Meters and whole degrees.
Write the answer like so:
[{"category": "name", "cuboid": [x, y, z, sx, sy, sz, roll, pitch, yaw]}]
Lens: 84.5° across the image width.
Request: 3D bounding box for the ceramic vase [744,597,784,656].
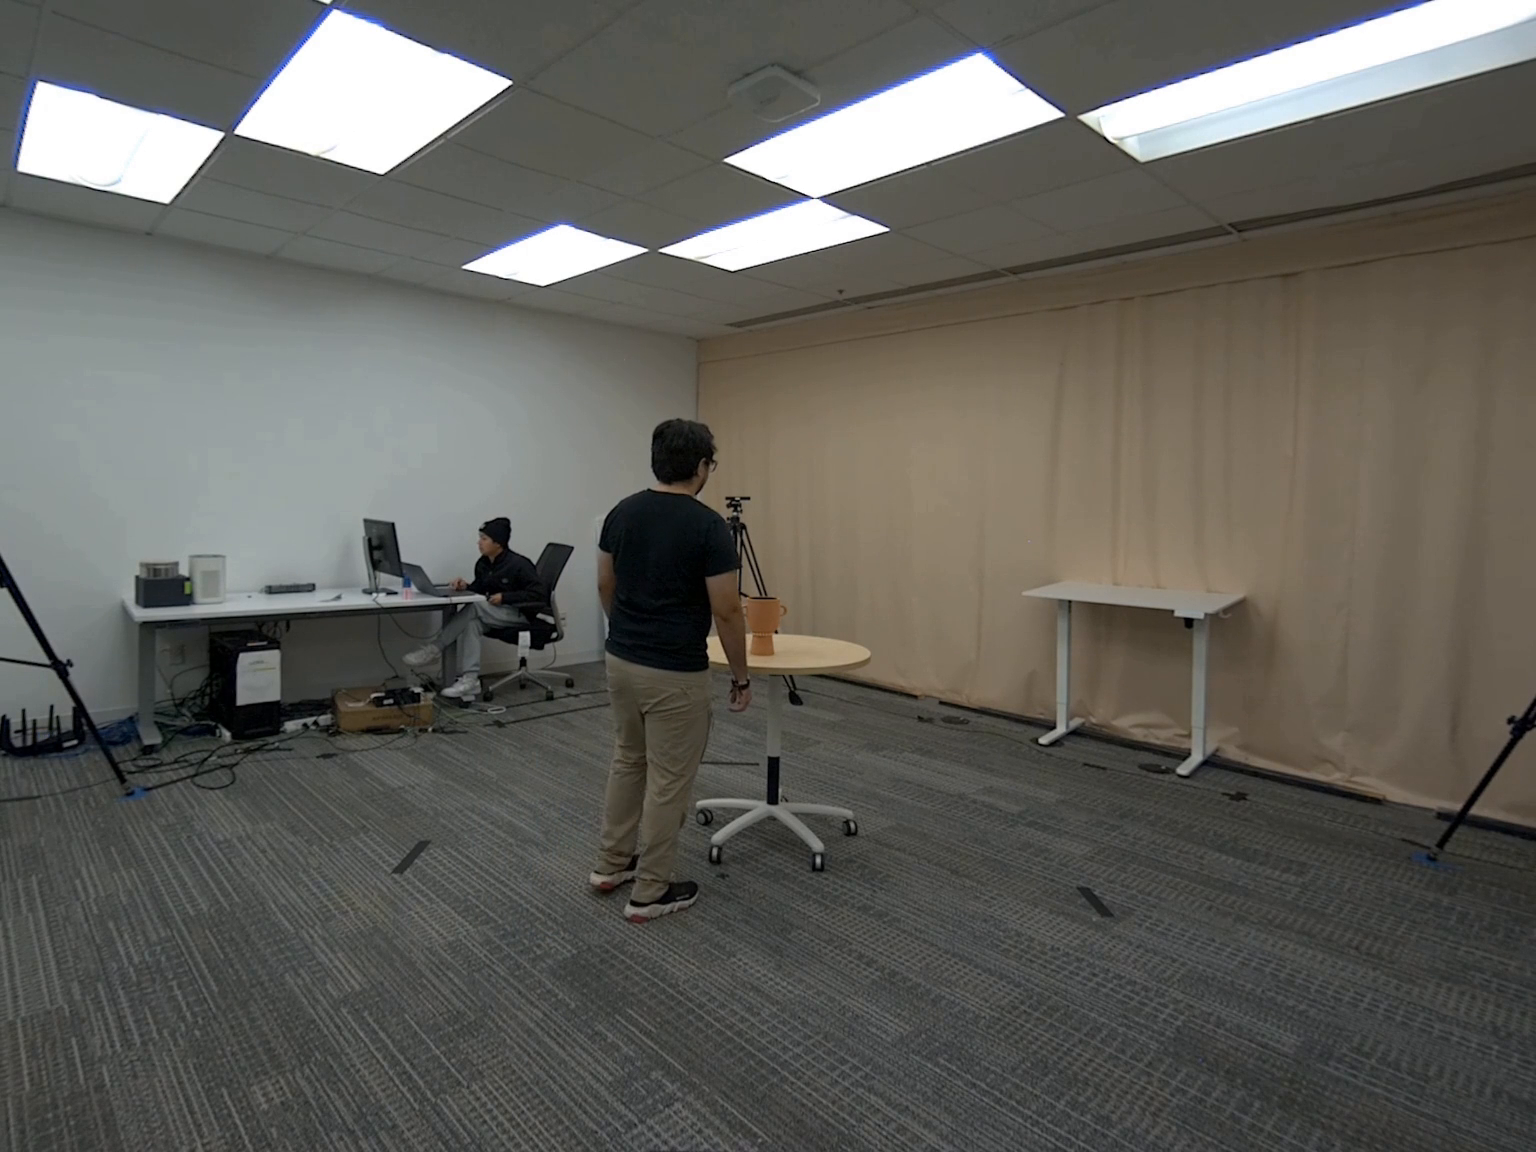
[{"category": "ceramic vase", "cuboid": [-0.027, 0.200, 3.333, 0.161, 0.219, 0.133, 3, 4, 21]}]
